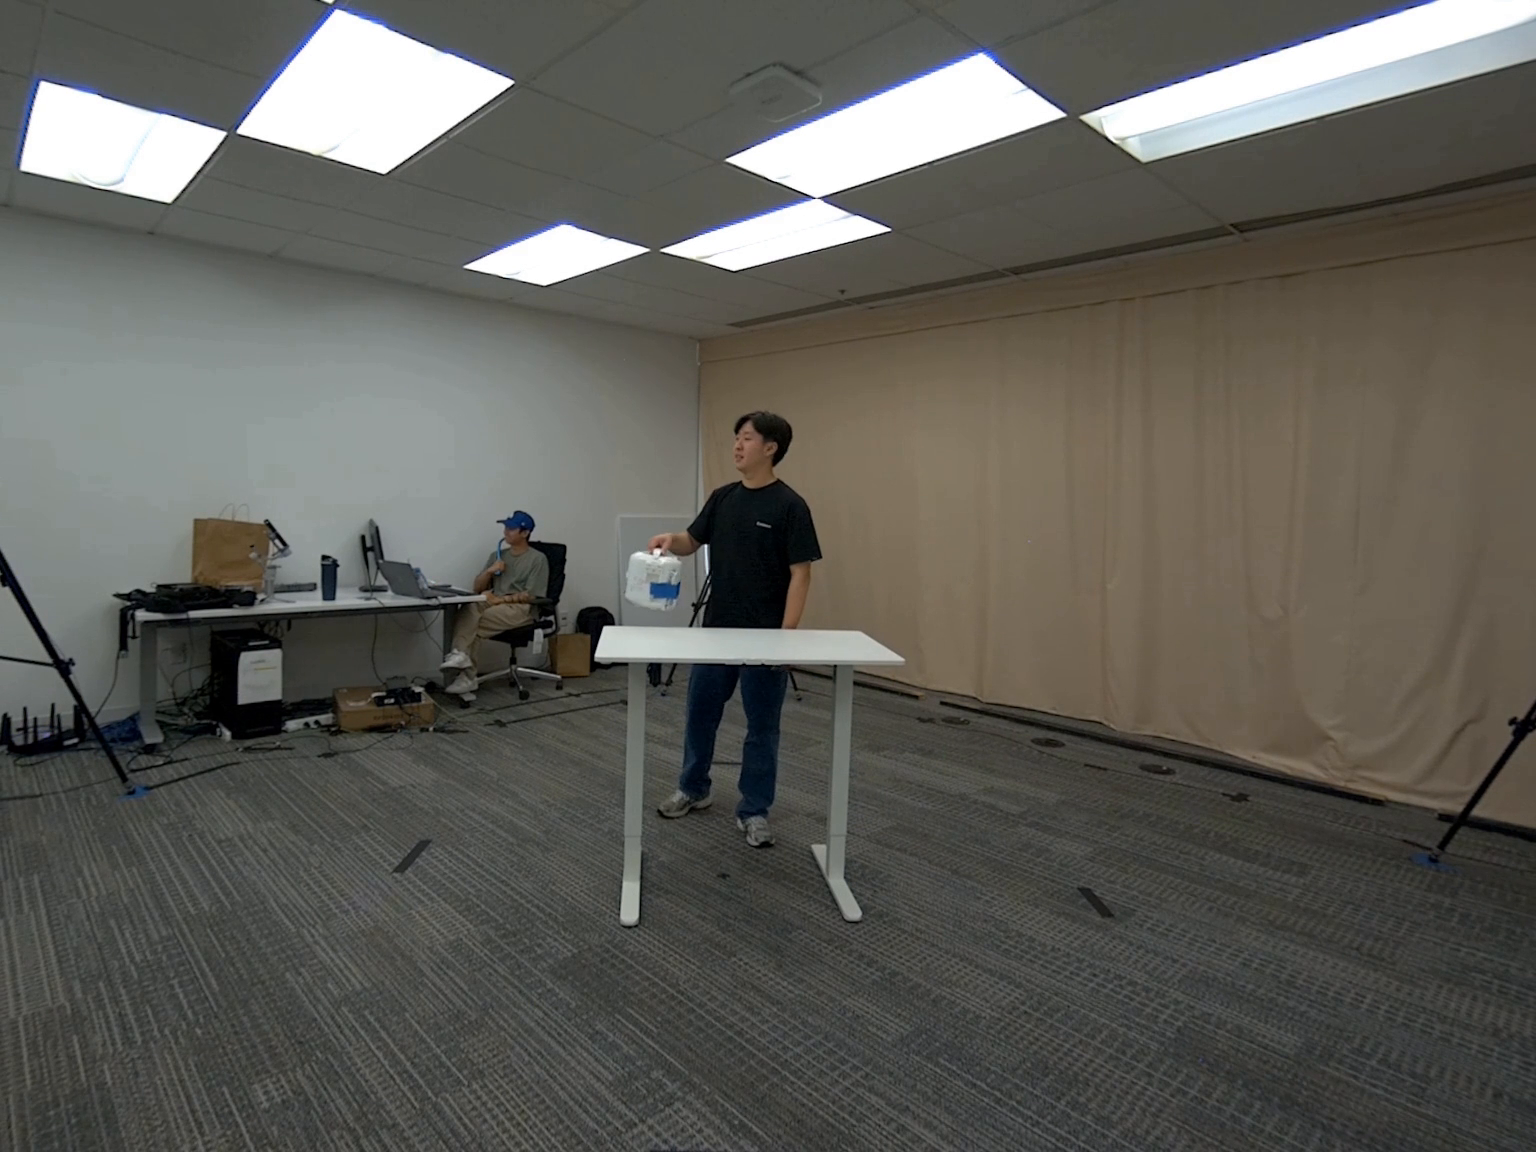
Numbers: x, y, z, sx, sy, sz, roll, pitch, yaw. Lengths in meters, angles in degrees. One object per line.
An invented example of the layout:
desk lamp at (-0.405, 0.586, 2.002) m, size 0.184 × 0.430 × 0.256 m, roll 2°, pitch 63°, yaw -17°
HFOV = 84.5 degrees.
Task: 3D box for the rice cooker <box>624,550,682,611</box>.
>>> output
rice cooker at (-0.452, 0.010, 3.326) m, size 0.217 × 0.232 × 0.221 m, roll 10°, pitch 4°, yaw -2°
